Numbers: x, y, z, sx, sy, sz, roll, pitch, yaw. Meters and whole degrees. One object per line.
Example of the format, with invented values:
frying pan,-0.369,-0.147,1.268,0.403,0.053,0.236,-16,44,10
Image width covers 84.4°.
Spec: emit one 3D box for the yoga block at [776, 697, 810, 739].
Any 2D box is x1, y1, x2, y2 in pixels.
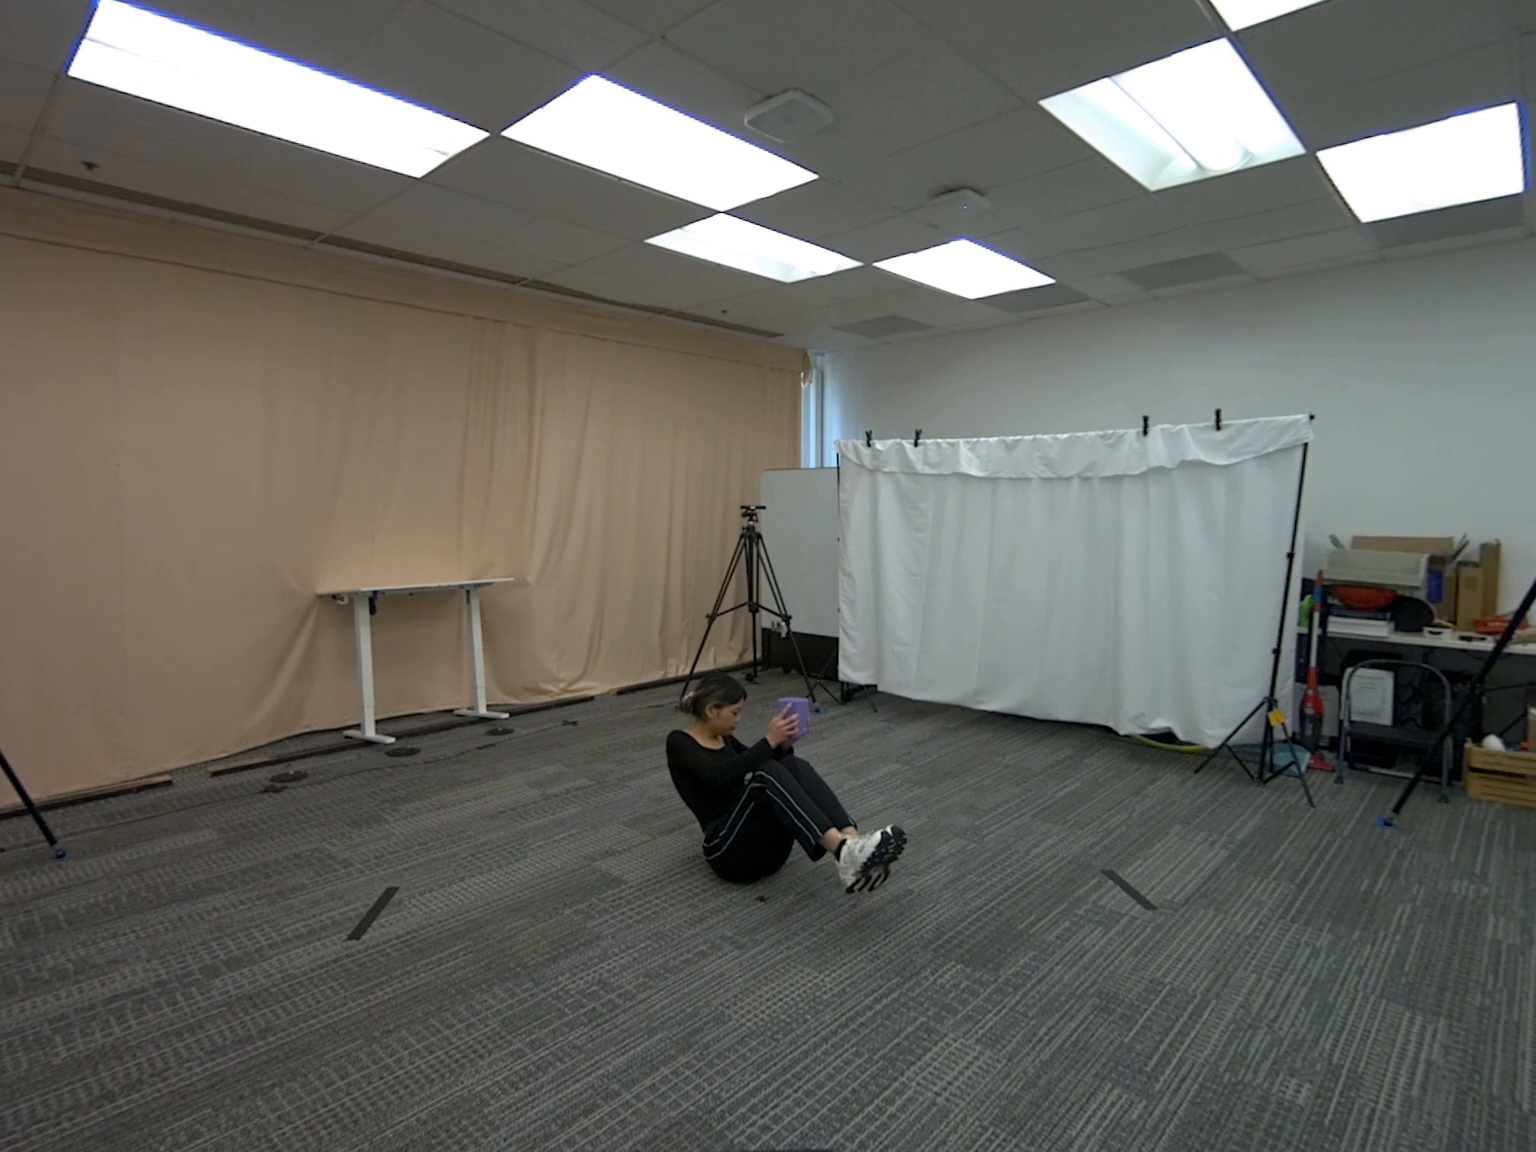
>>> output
yoga block,0.080,0.568,3.304,0.078,0.149,0.224,3,-5,16
